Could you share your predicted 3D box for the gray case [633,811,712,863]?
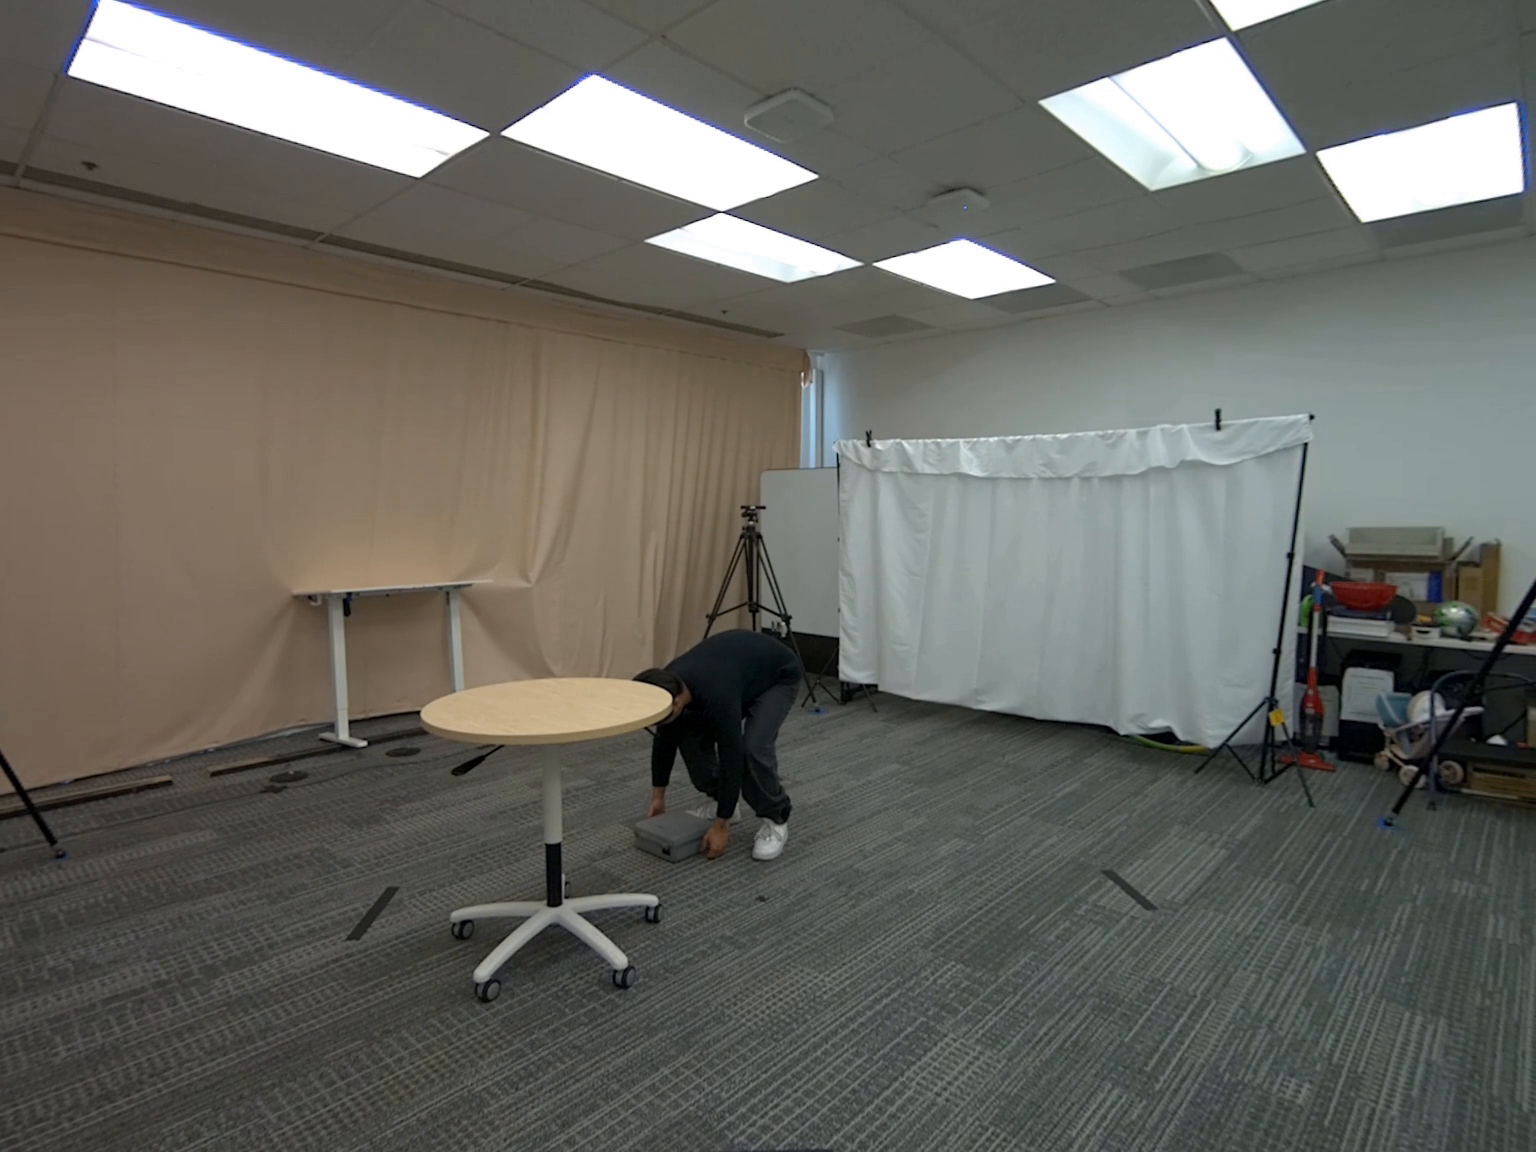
[{"bbox_3d":[-0.381,1.052,3.449,0.265,0.104,0.252,1,4,42],"label":"gray case"}]
